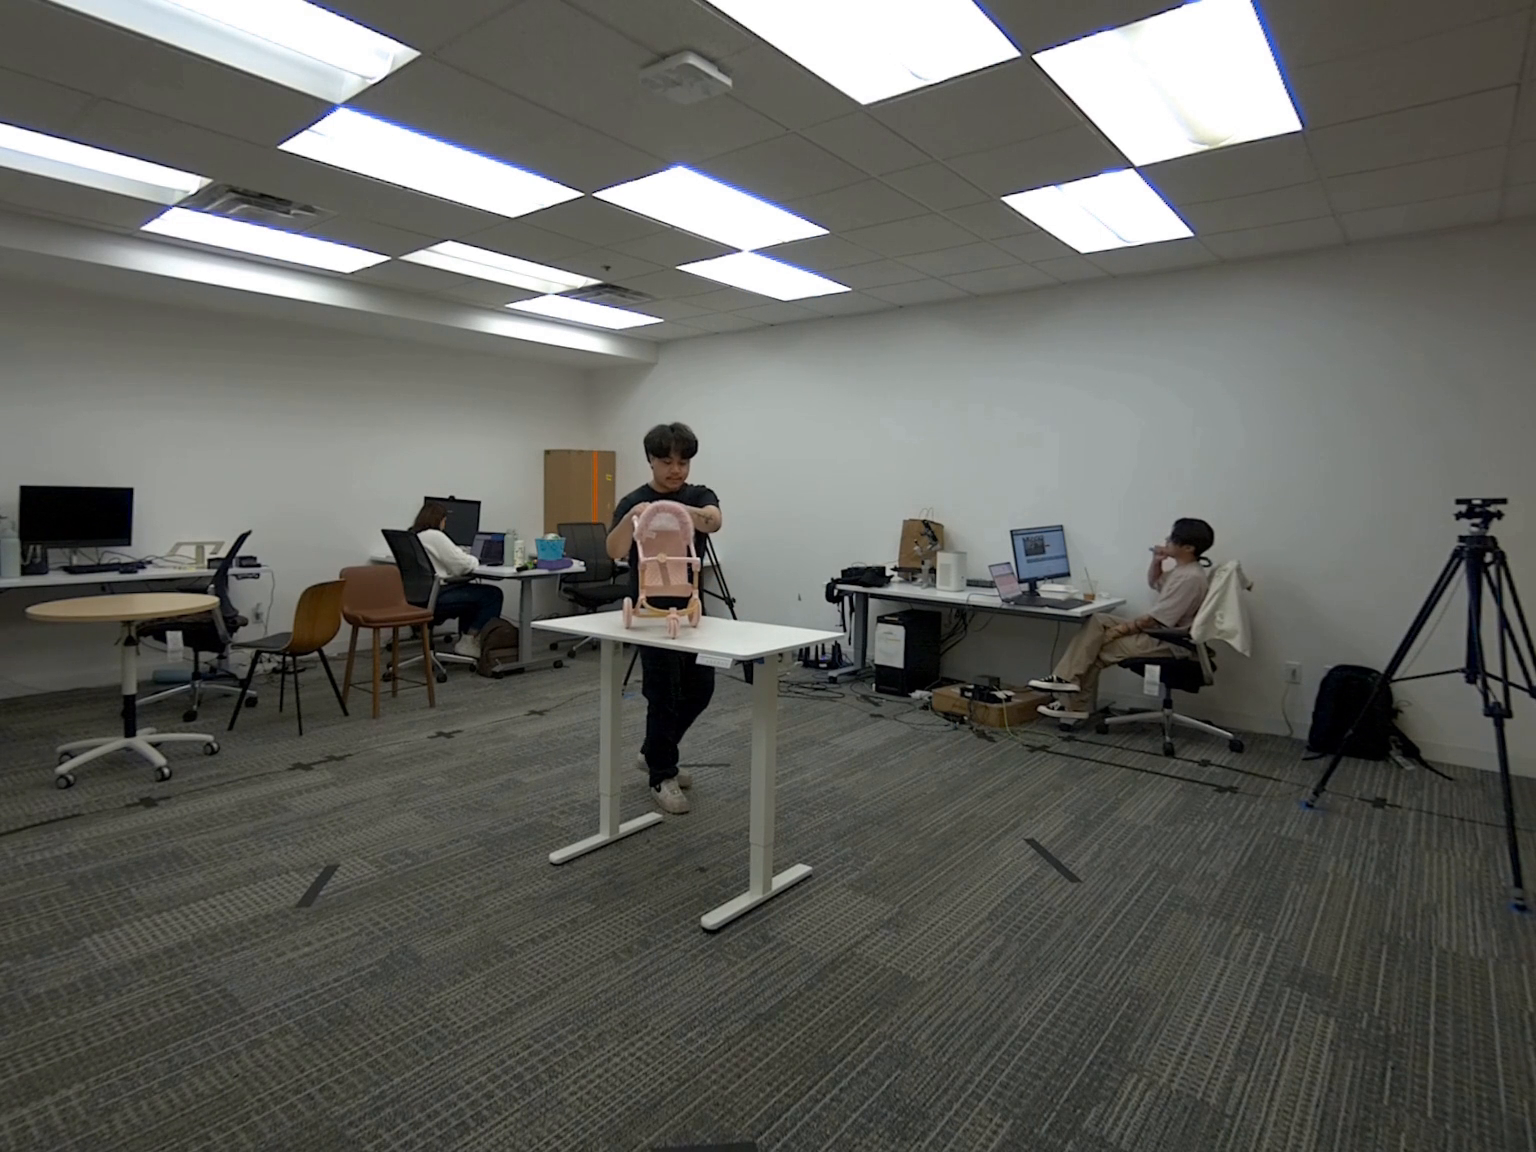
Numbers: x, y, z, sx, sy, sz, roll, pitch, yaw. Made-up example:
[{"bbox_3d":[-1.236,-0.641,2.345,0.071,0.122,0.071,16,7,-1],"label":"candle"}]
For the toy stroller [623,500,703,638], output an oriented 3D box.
[{"bbox_3d":[-0.379,-0.033,3.032,0.278,0.542,0.341,-1,-13,-12],"label":"toy stroller"}]
